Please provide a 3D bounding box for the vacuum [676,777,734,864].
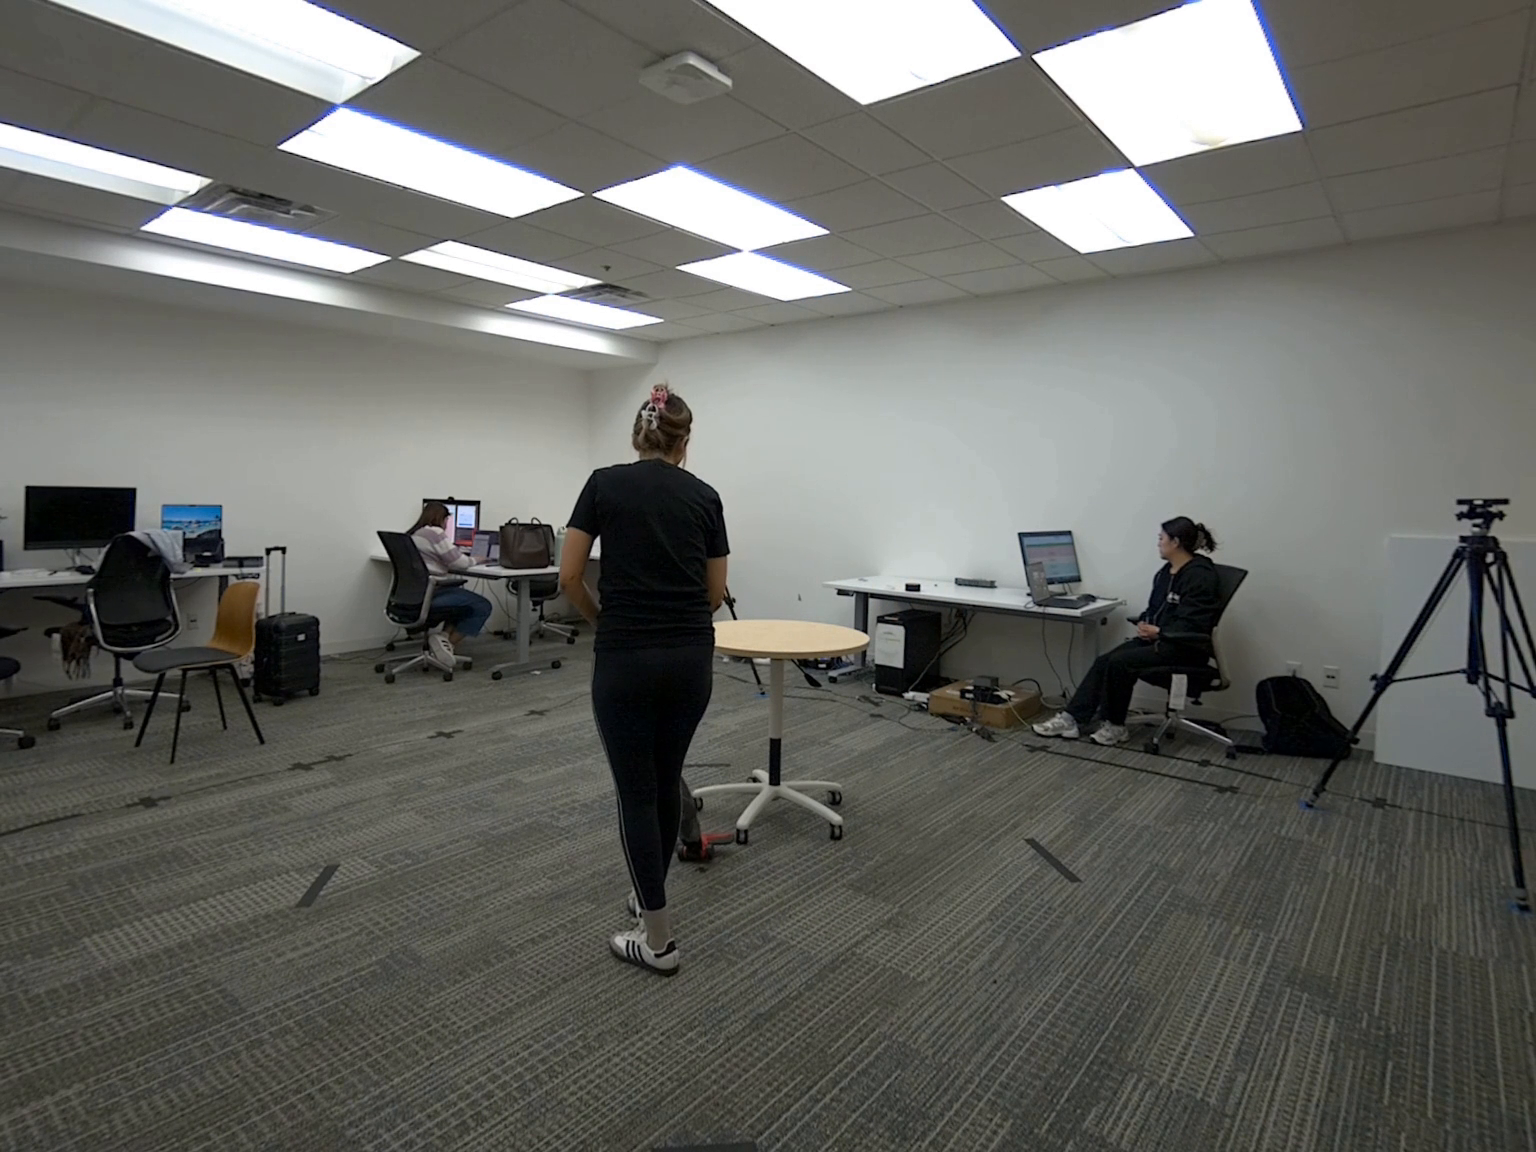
[{"bbox_3d":[-0.365,0.636,2.941,0.255,1.015,0.147,-6,36,10],"label":"vacuum"}]
